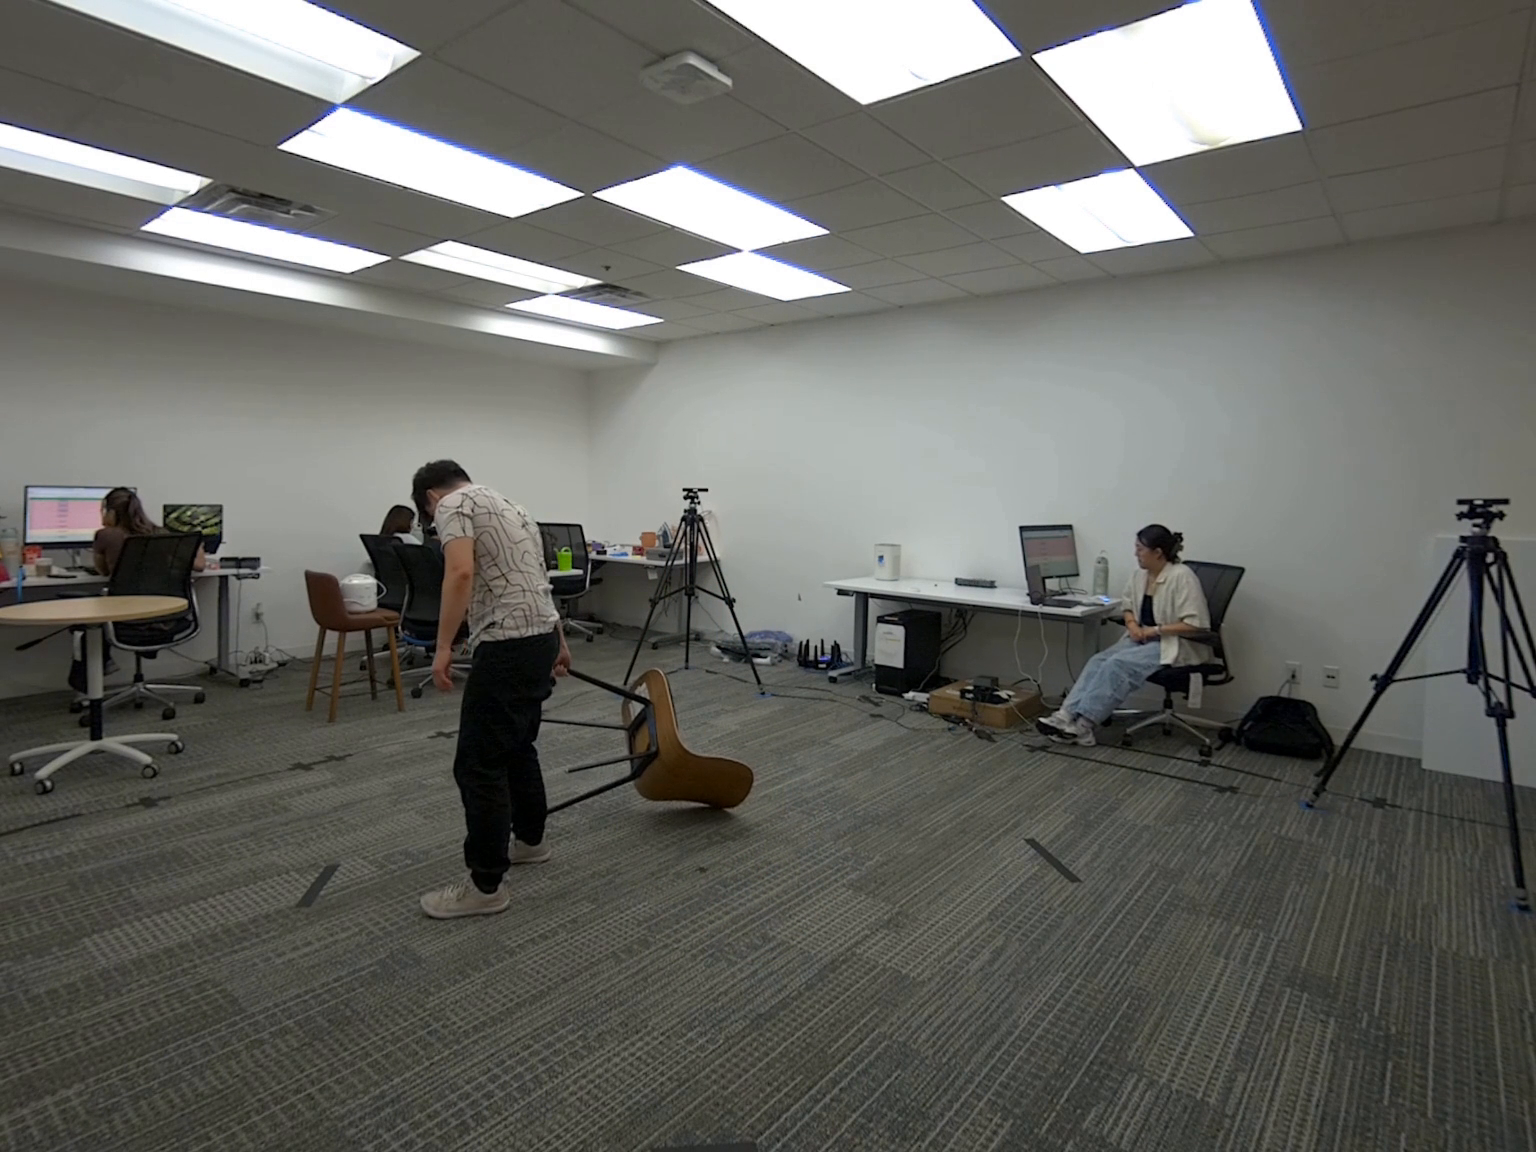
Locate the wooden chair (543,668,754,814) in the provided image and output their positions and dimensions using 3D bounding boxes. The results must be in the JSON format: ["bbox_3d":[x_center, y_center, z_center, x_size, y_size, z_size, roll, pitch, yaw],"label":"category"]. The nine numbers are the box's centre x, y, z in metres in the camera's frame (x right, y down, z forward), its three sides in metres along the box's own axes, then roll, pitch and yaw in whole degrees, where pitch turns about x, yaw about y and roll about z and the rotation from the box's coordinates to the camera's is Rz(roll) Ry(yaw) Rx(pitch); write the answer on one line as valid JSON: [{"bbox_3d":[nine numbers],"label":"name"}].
[{"bbox_3d":[-0.540,0.690,3.566,0.853,0.541,0.475,9,-42,-27],"label":"wooden chair"}]
